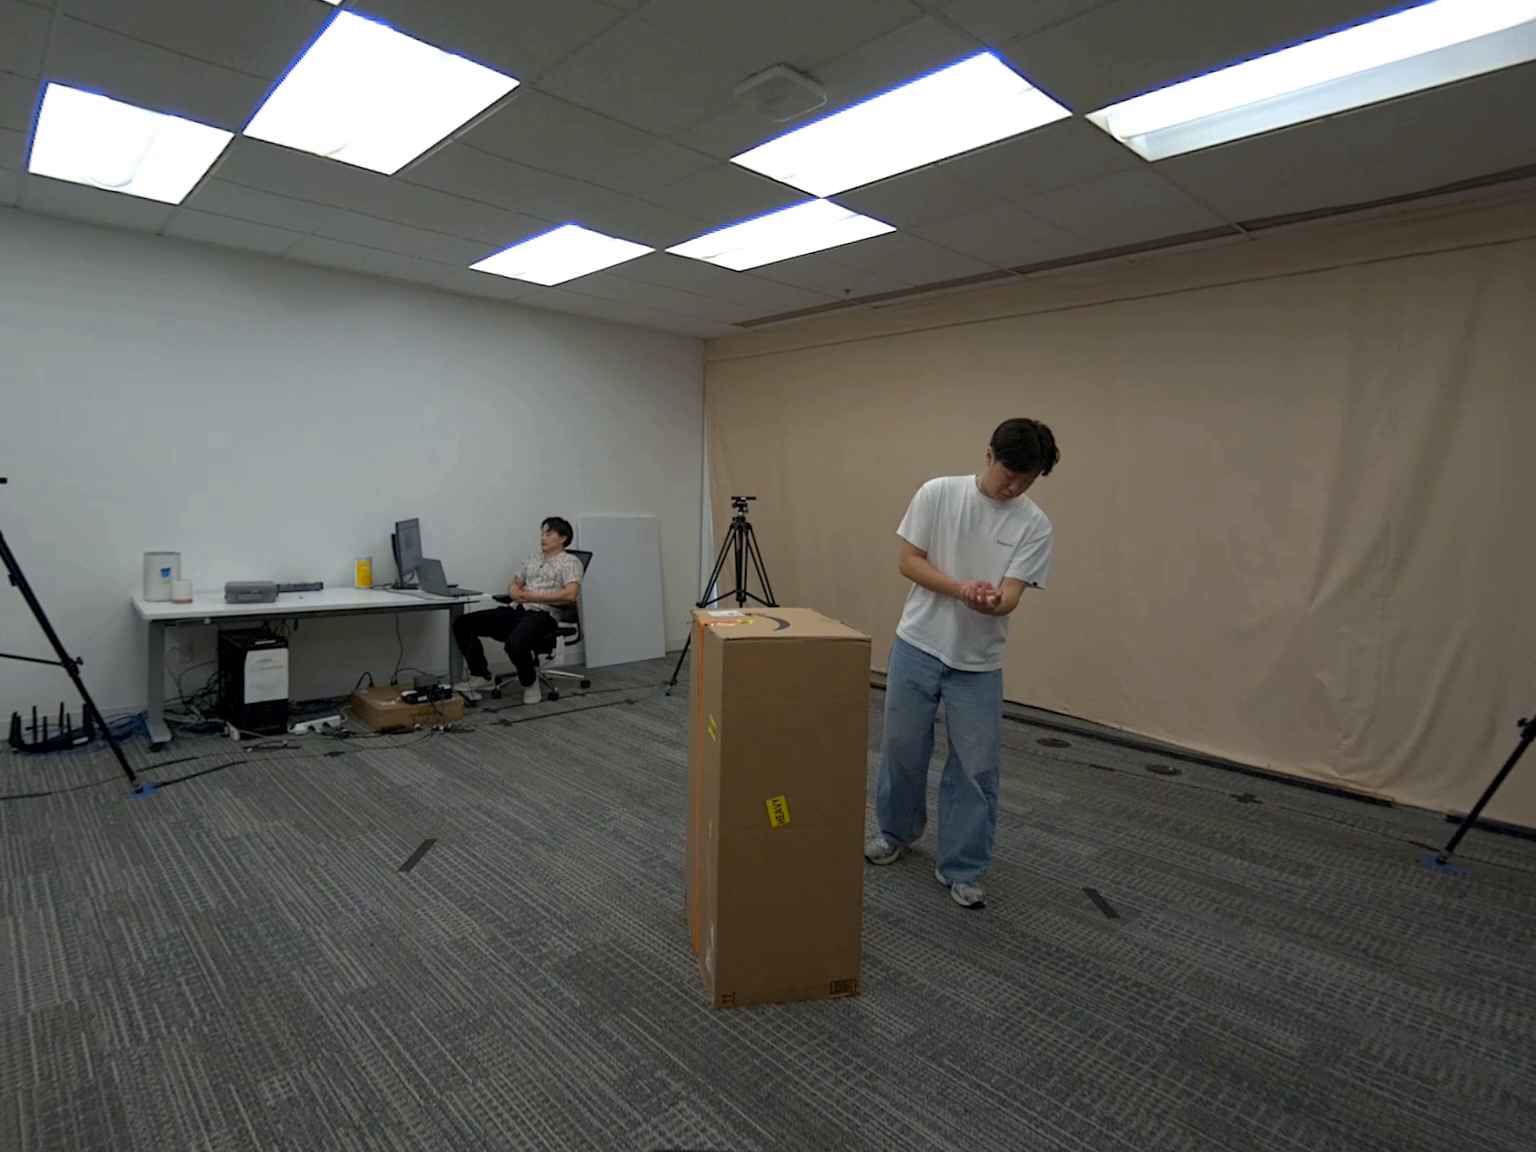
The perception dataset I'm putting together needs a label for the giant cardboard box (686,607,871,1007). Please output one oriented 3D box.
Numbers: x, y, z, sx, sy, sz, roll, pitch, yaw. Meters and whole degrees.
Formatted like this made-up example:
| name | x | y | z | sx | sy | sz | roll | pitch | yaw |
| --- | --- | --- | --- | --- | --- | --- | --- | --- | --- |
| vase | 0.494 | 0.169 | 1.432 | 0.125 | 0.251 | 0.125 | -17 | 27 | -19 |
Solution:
| name | x | y | z | sx | sy | sz | roll | pitch | yaw |
| --- | --- | --- | --- | --- | --- | --- | --- | --- | --- |
| giant cardboard box | -0.003 | 0.649 | 2.576 | 0.421 | 1.023 | 0.585 | 0 | 4 | -15 |
